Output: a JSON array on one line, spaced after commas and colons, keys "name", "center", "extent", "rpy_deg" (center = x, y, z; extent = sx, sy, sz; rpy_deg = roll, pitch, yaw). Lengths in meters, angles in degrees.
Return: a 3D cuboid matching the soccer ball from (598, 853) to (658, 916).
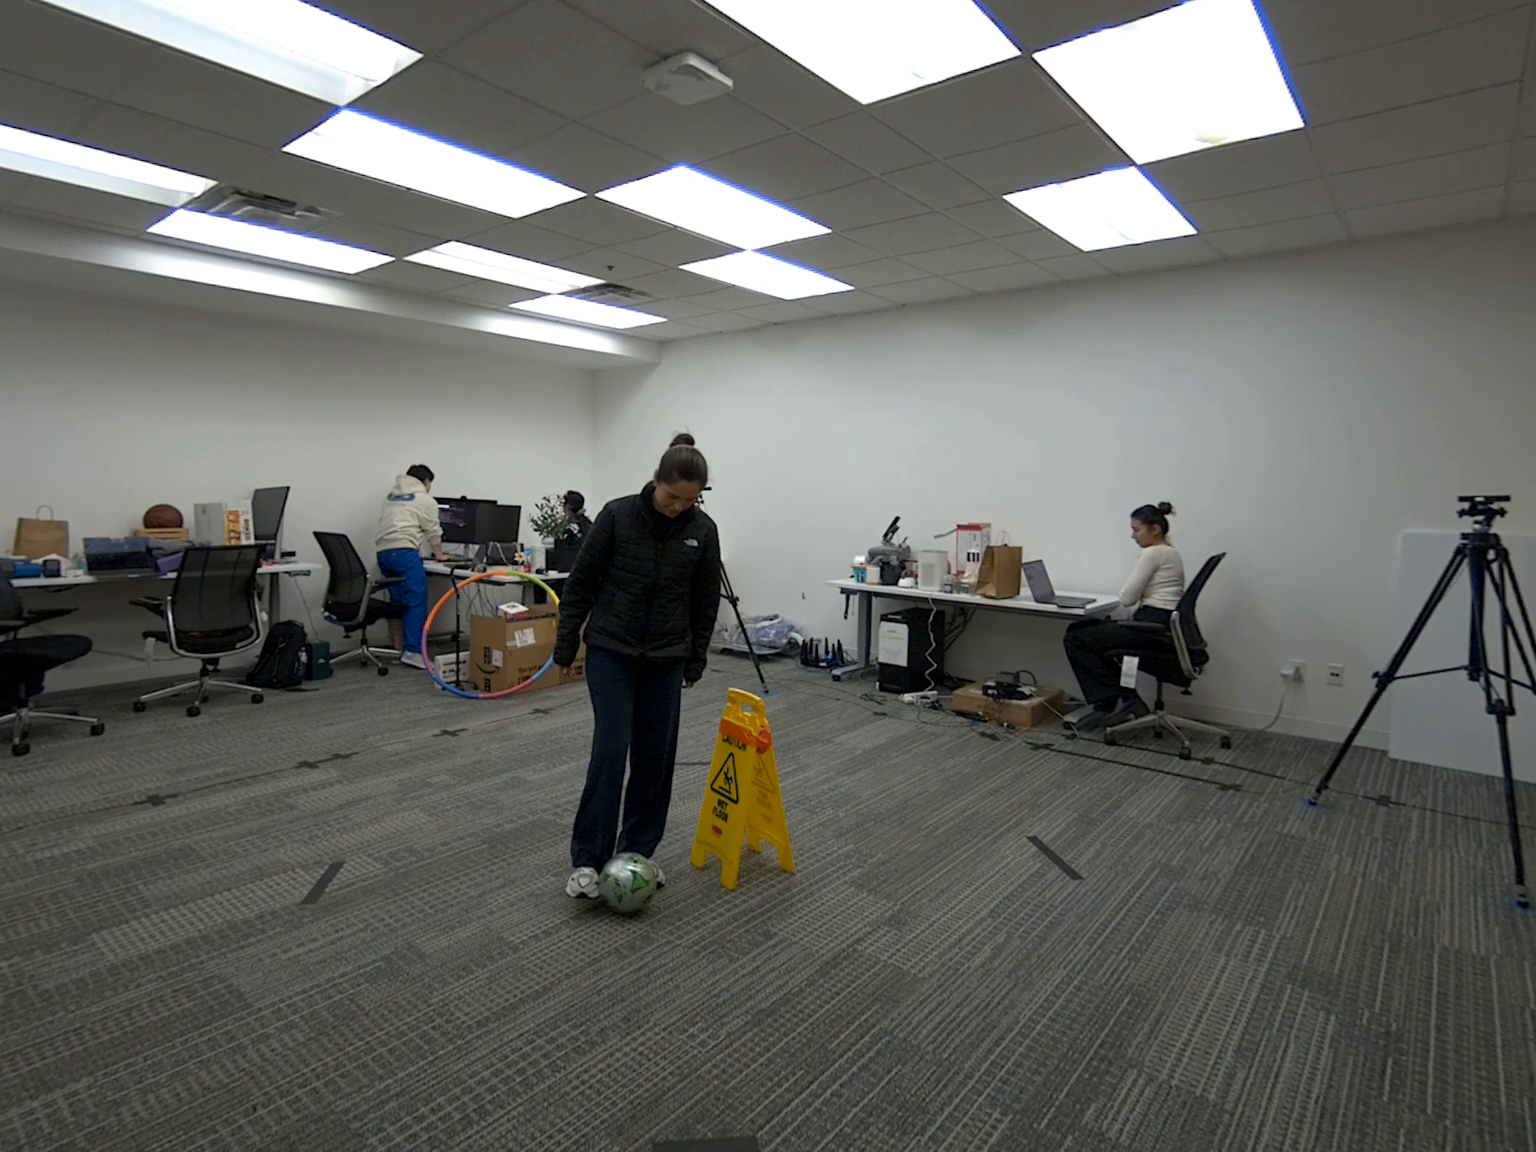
[{"name": "soccer ball", "center": [-0.464, 1.002, 2.776], "extent": [0.187, 0.187, 0.188], "rpy_deg": [1, 4, -2]}]
